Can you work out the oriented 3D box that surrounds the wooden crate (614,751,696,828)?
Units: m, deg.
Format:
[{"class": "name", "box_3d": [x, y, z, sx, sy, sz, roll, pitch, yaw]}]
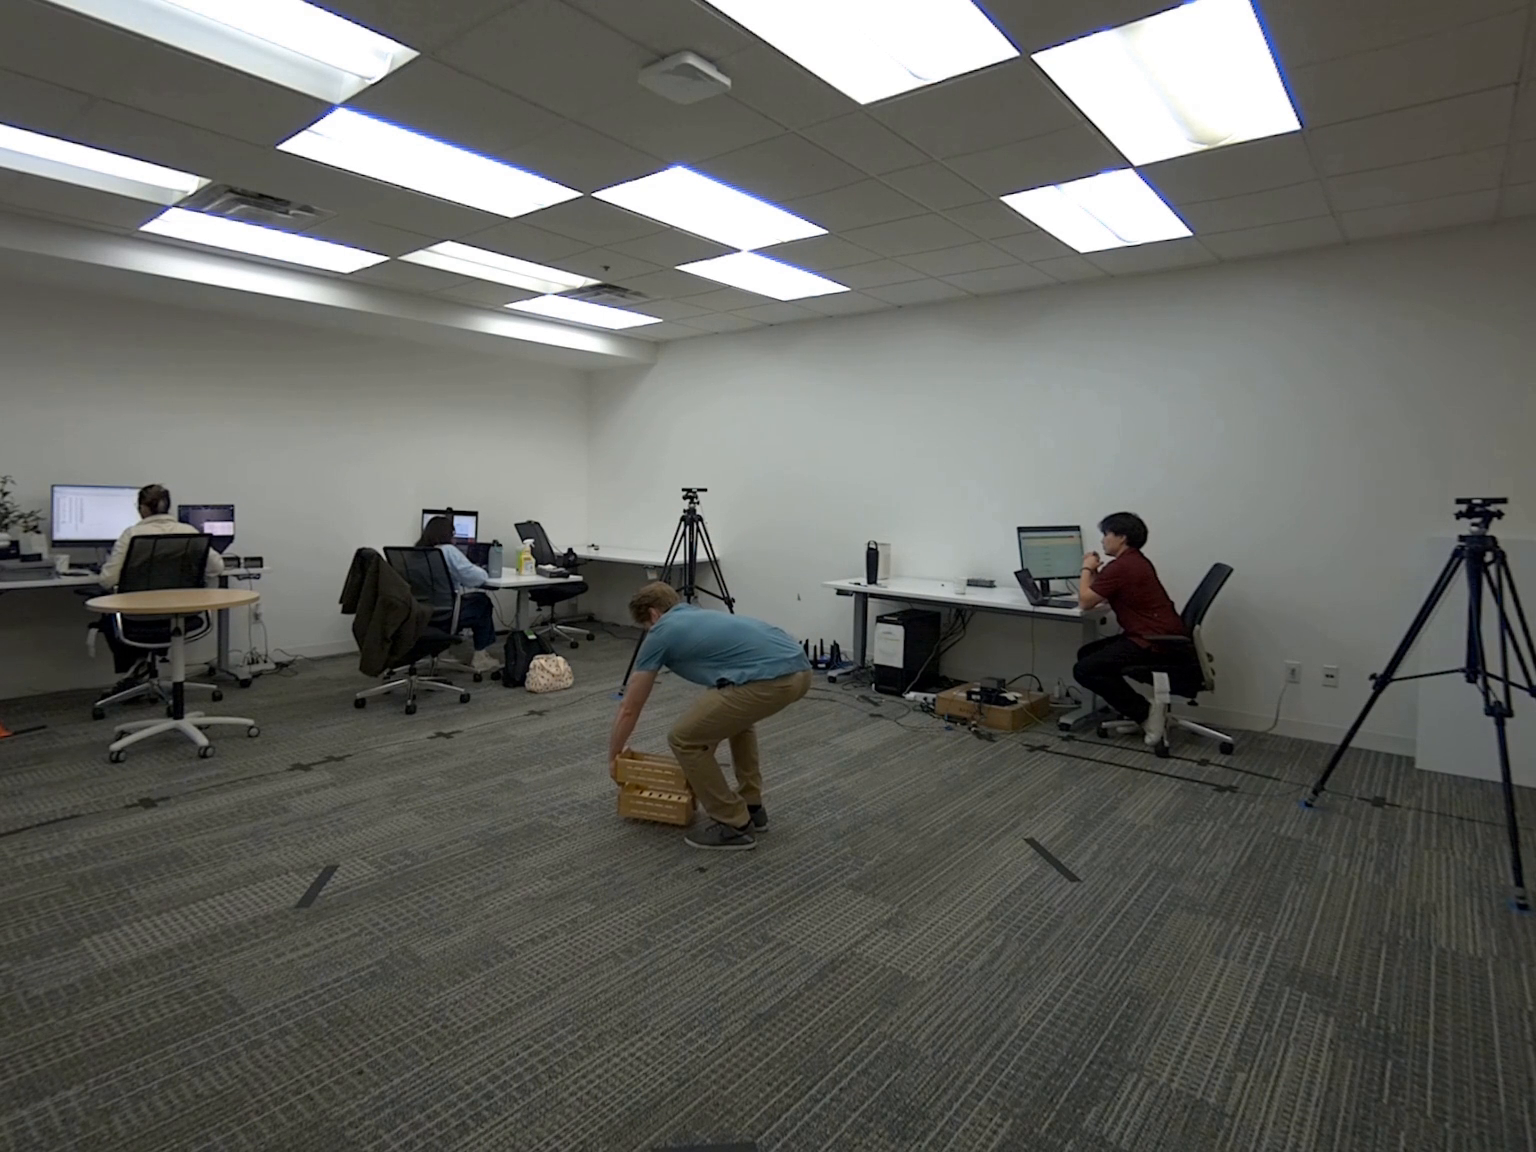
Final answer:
[{"class": "wooden crate", "box_3d": [-0.467, 0.857, 3.585, 0.328, 0.271, 0.300, 4, 8, 10]}]
